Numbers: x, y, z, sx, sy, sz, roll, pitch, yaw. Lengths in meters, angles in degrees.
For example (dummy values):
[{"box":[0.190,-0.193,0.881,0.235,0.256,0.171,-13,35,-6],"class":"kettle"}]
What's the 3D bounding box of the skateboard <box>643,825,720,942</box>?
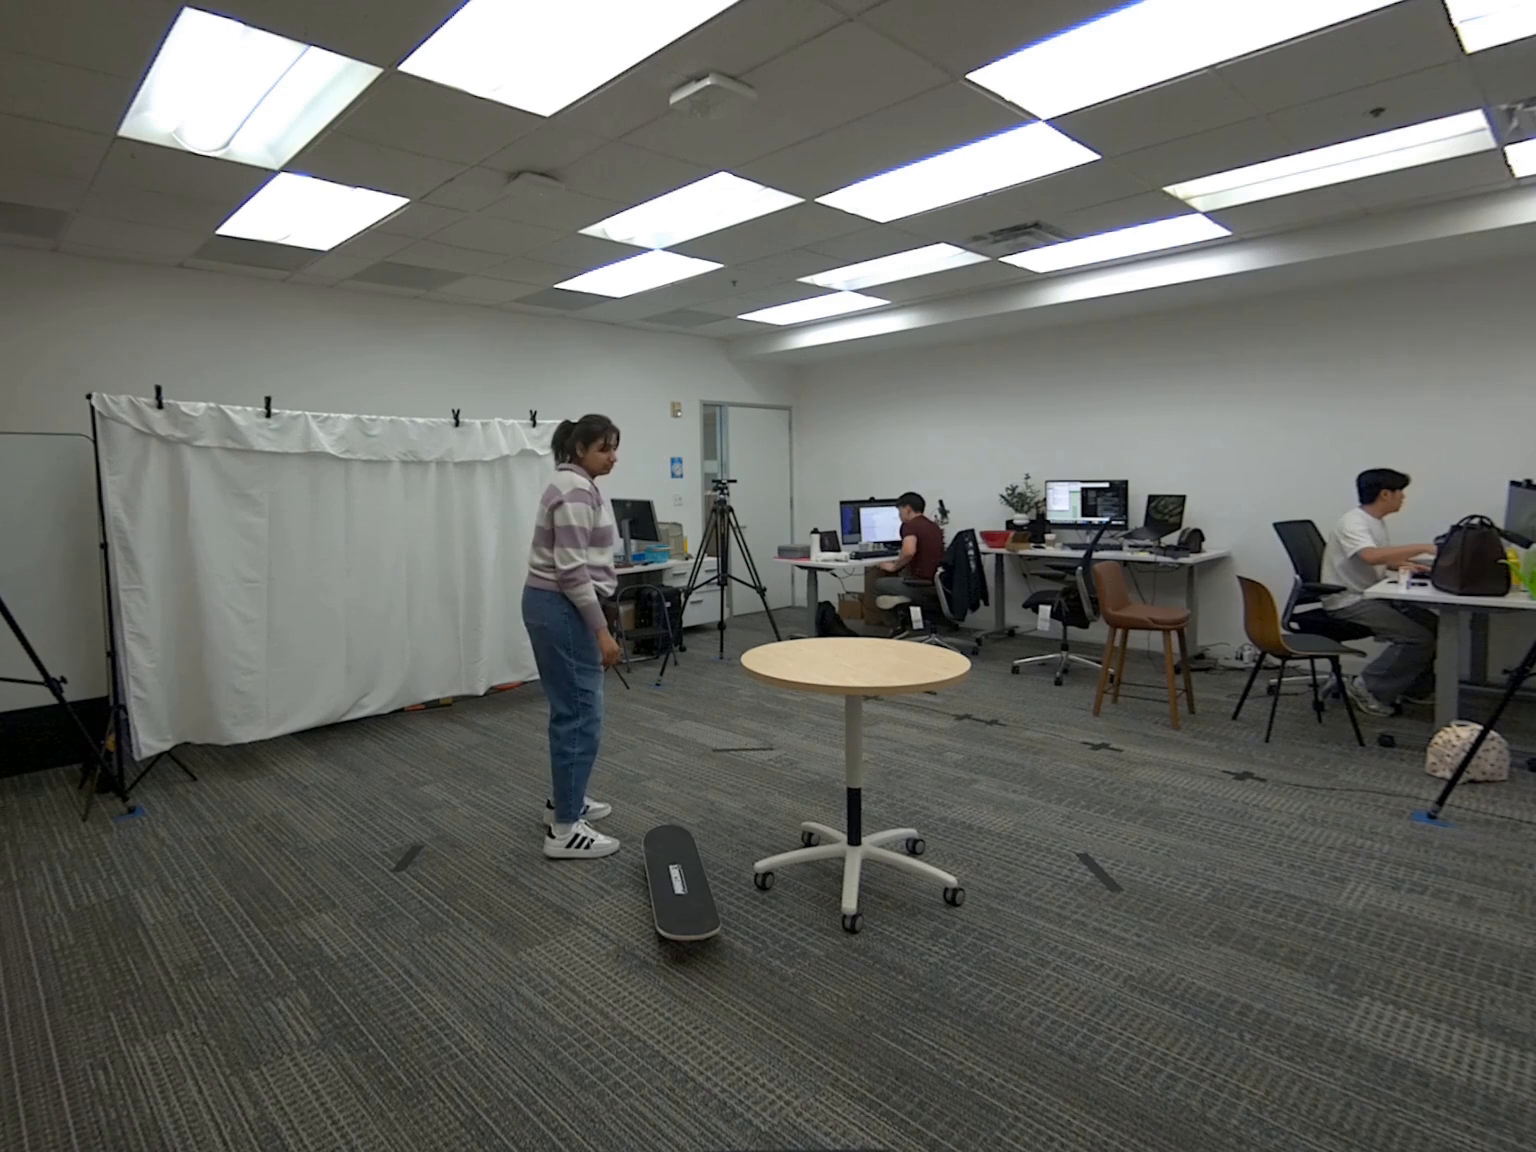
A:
[{"box":[-0.286,1.028,2.813,0.191,0.110,0.797,-2,6,-12],"class":"skateboard"}]
